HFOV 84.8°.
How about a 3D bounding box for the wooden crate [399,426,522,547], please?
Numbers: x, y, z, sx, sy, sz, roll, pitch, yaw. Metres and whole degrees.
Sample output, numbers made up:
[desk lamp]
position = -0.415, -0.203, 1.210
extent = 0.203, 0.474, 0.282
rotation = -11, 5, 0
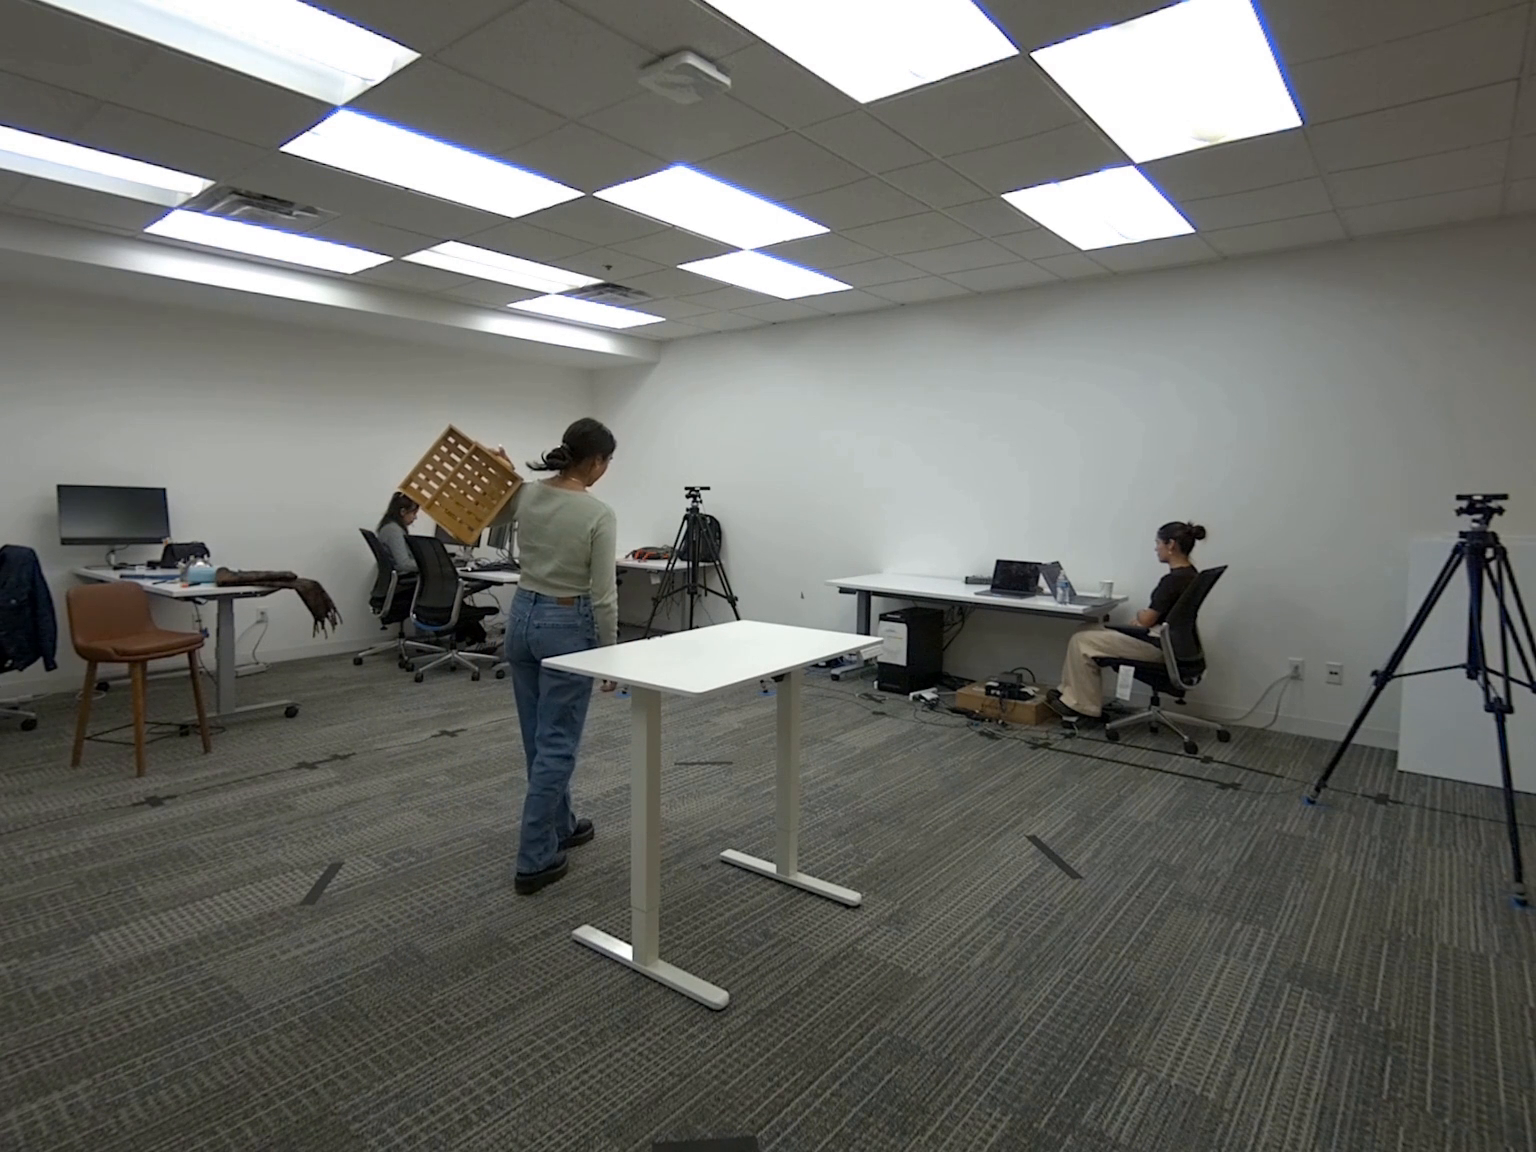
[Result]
[wooden crate]
position = -1.134, -0.342, 3.081
extent = 0.292, 0.324, 0.282
rotation = 40, -7, -25
